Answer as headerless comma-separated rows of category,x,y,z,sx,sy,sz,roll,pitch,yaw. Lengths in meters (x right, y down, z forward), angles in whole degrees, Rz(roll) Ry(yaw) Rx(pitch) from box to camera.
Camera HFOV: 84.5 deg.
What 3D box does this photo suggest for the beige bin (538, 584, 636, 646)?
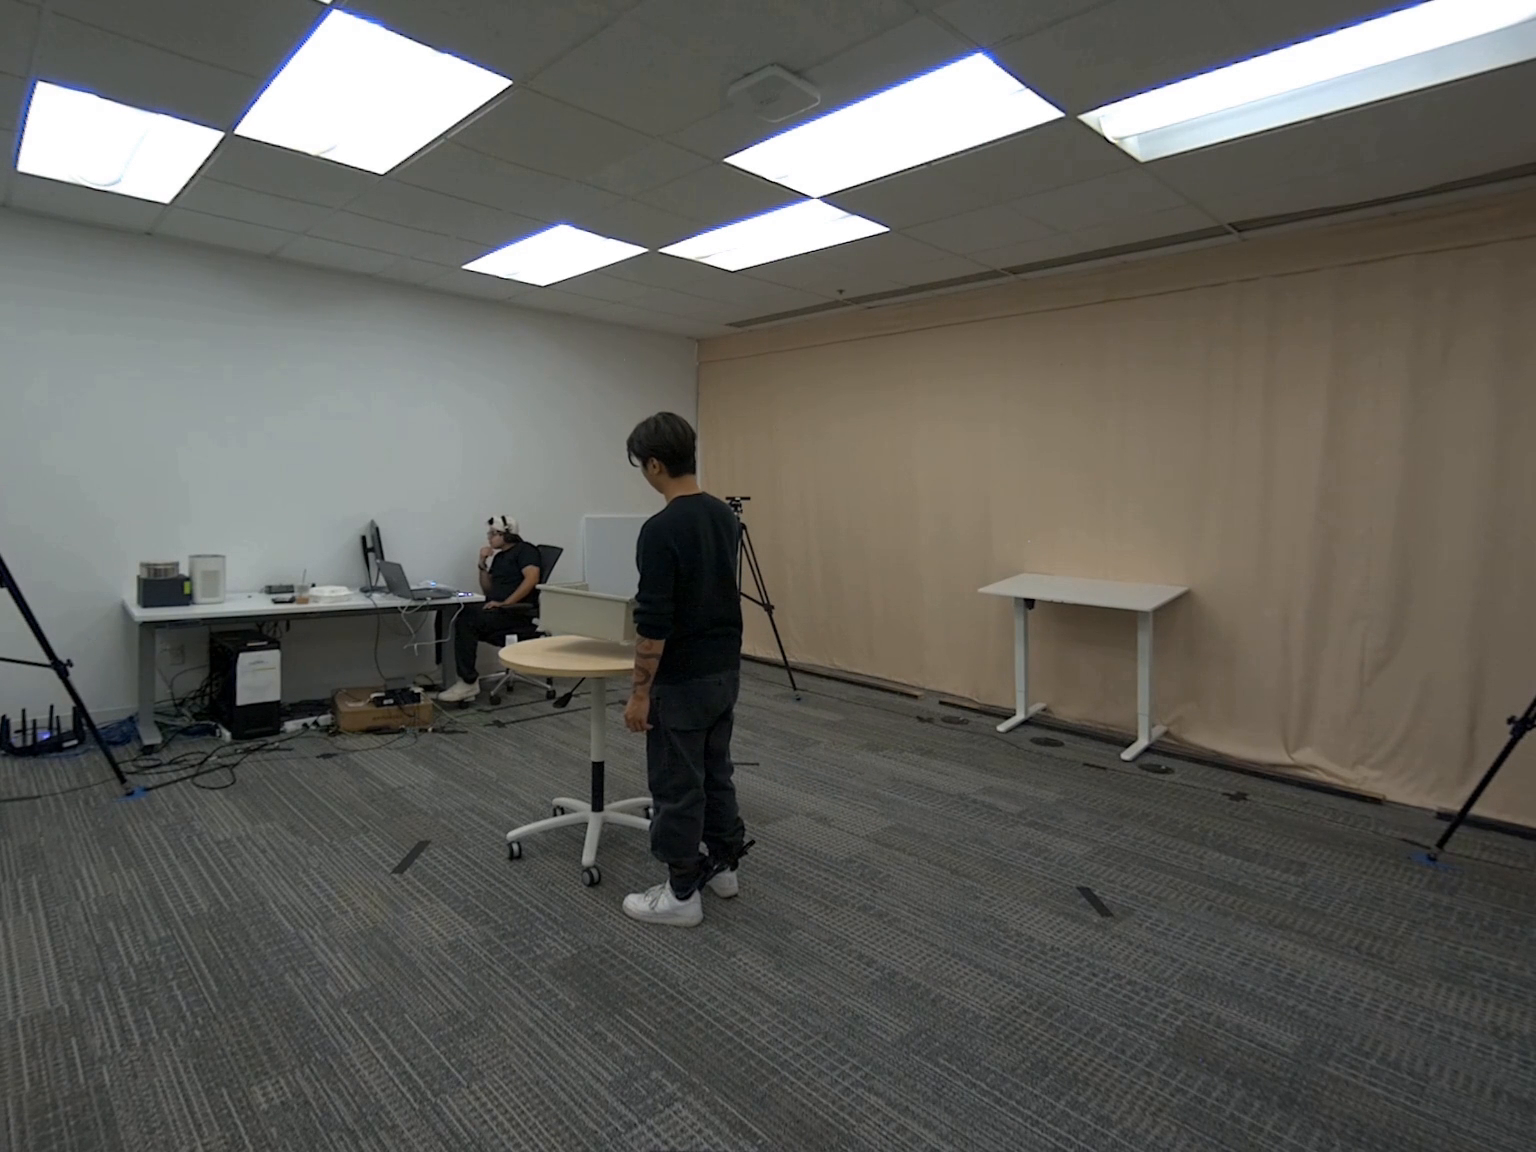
beige bin,-0.652,0.147,3.348,0.430,0.188,0.371,7,5,22
